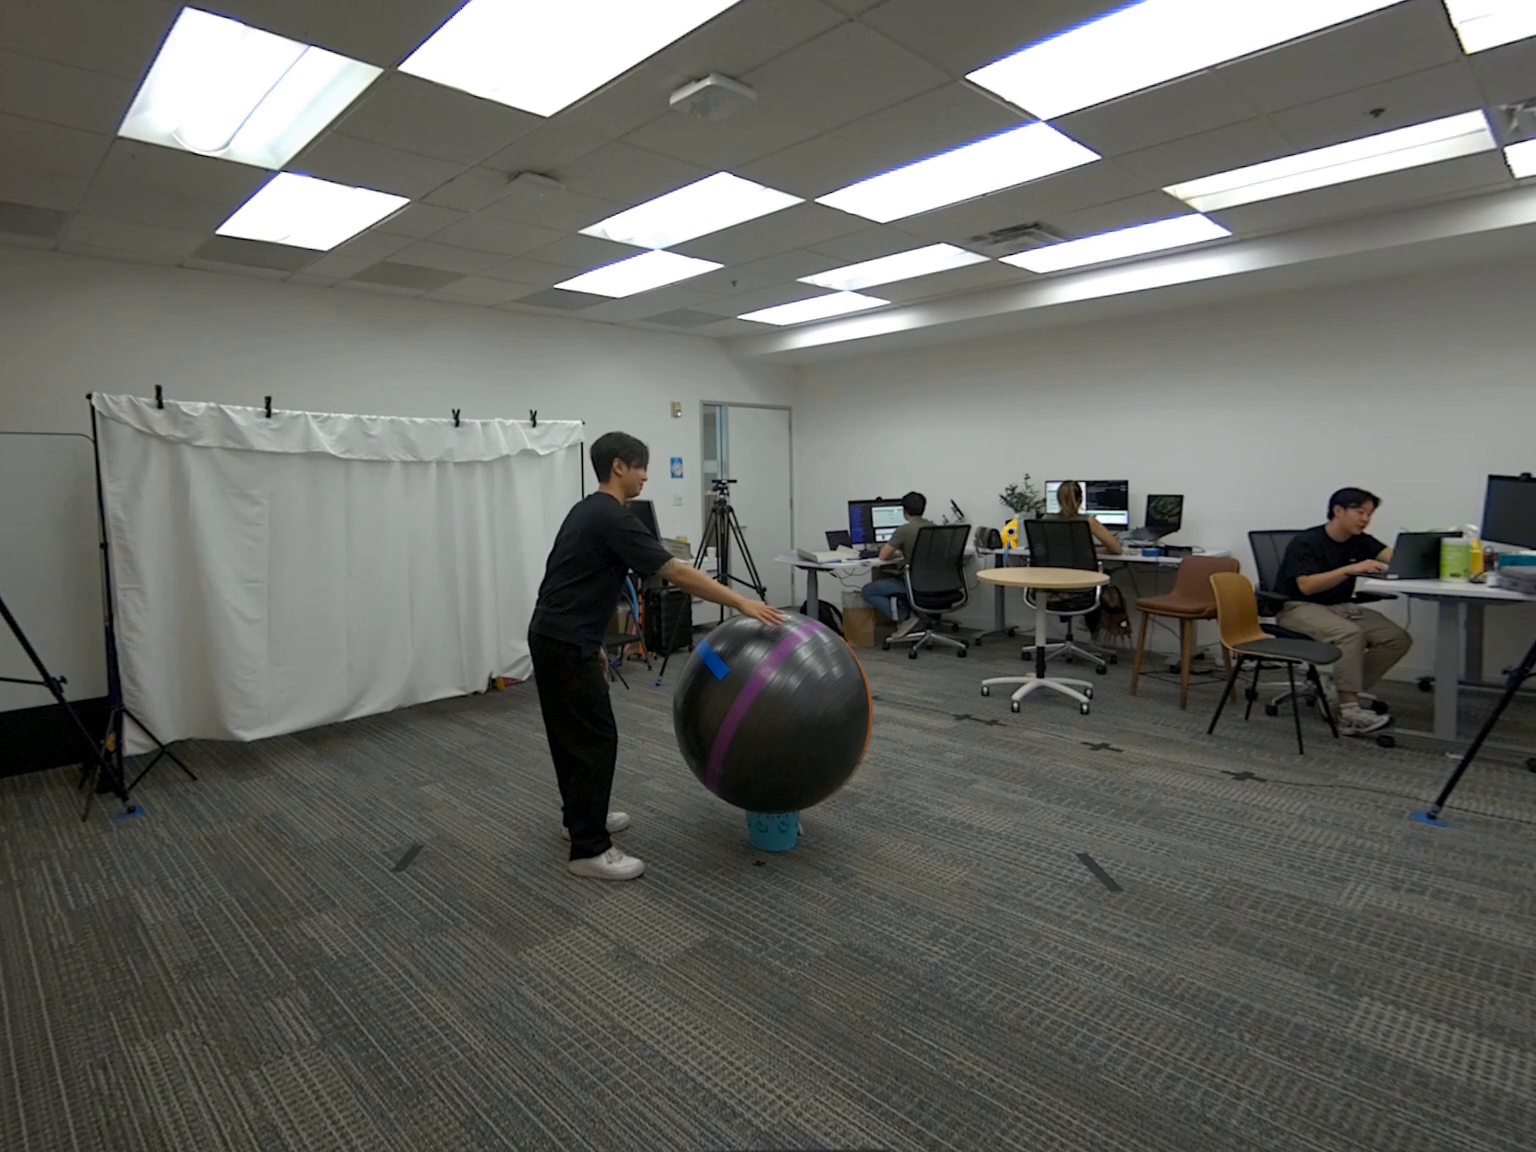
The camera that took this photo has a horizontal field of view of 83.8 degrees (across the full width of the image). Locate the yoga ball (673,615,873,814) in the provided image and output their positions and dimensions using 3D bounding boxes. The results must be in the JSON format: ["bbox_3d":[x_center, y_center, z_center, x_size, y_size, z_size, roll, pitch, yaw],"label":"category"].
[{"bbox_3d":[0.028,0.520,3.275,0.757,0.755,0.762,-1,5,-2],"label":"yoga ball"}]
